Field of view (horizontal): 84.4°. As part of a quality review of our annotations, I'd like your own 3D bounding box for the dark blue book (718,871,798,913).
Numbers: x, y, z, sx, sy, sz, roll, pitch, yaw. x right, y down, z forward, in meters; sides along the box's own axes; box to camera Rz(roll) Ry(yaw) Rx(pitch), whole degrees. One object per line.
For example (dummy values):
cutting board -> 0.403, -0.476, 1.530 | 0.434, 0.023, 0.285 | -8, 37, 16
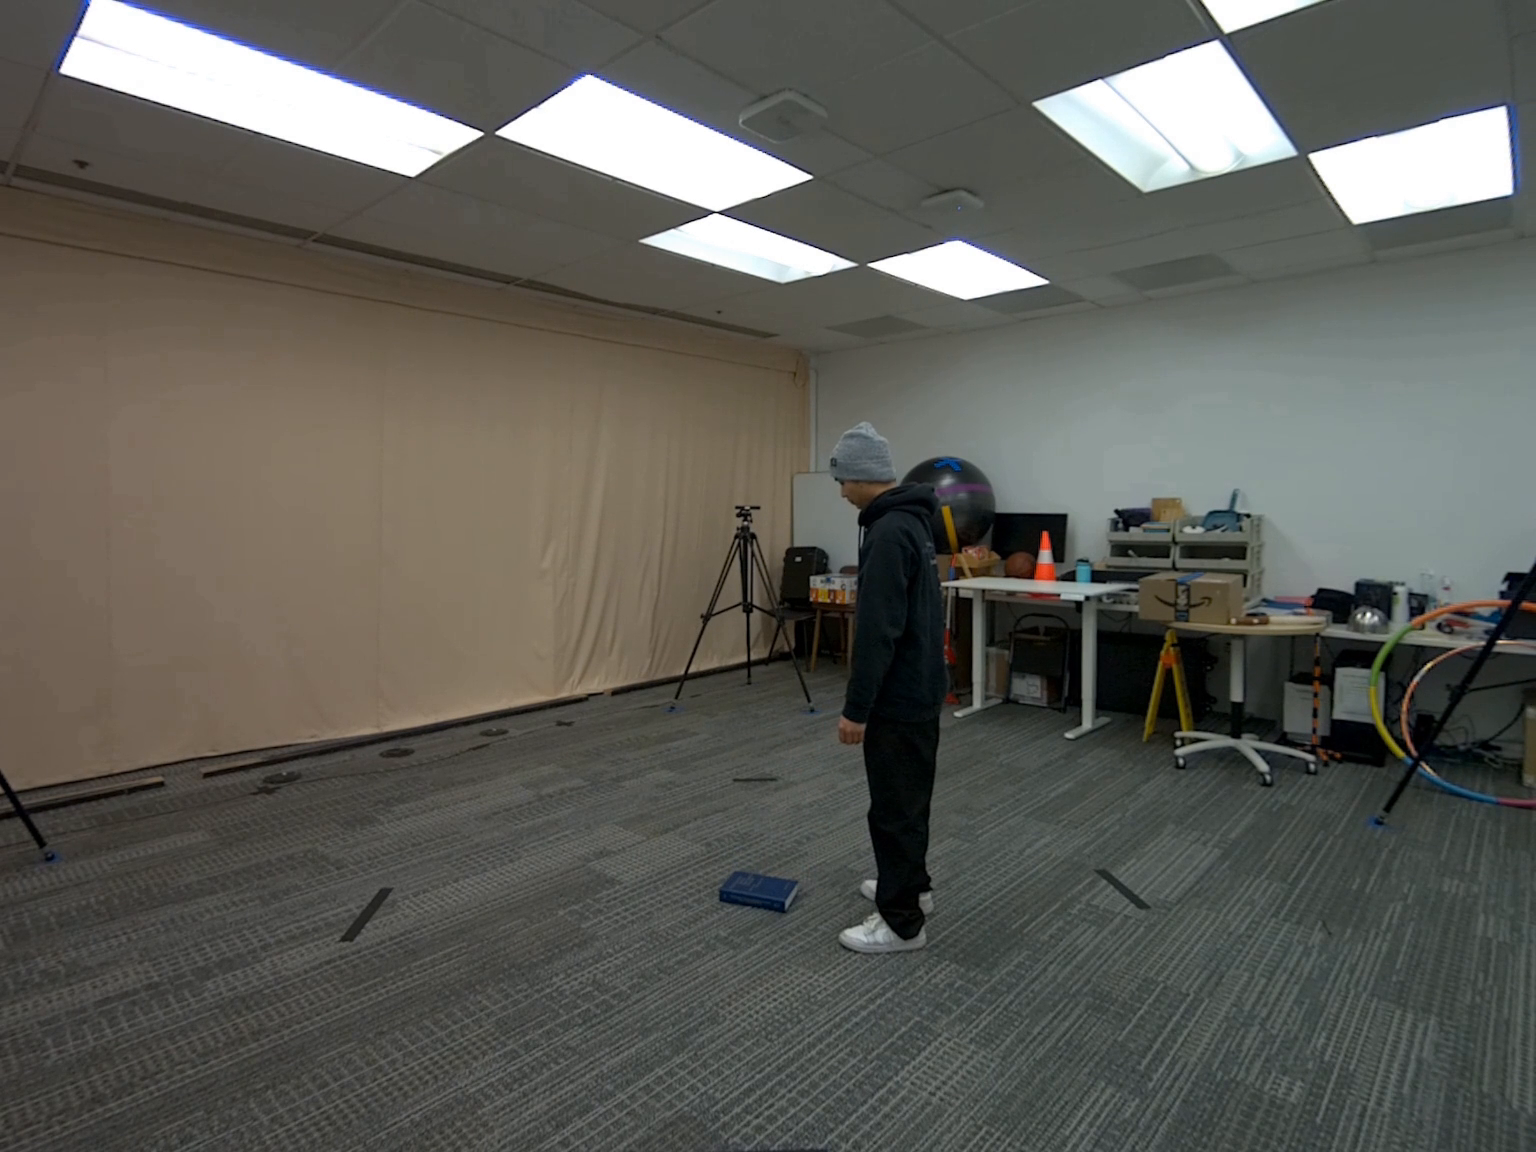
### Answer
dark blue book -> -0.028, 1.117, 2.994 | 0.250, 0.045, 0.160 | 1, 5, 20
